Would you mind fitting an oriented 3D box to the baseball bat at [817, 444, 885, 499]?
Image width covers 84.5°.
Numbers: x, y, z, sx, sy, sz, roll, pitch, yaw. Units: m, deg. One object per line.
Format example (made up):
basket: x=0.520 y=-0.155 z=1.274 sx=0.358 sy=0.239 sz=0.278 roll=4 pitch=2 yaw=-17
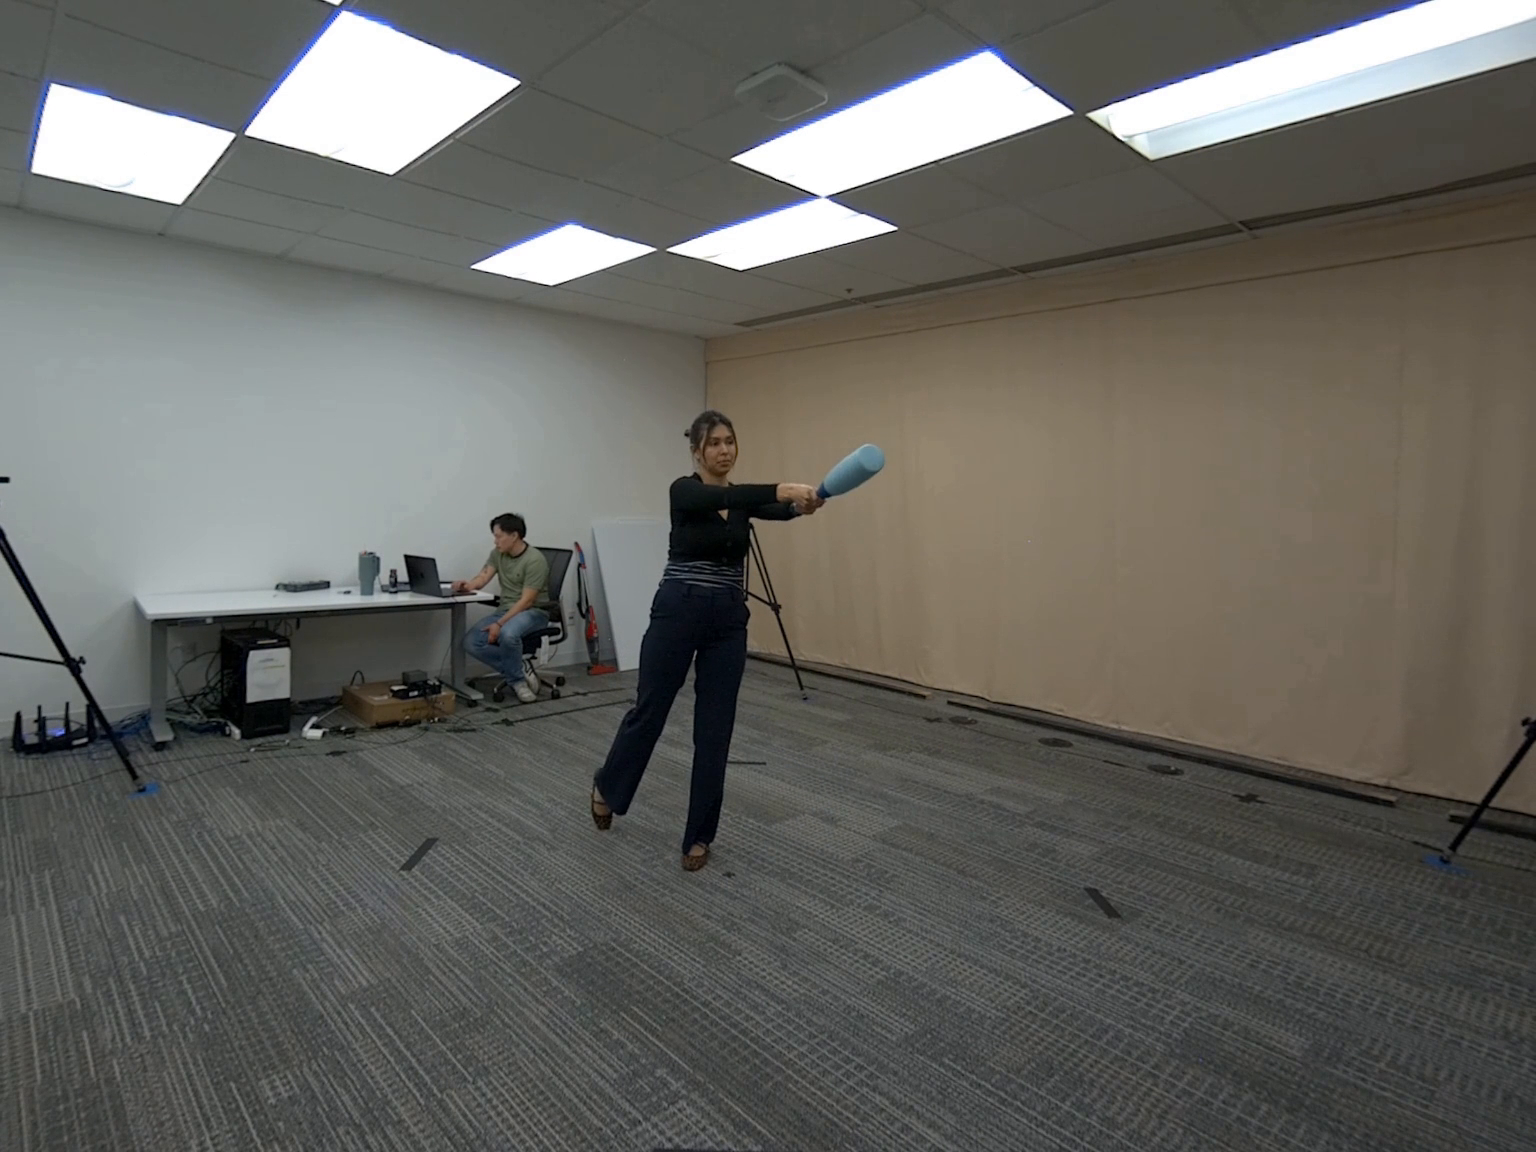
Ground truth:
baseball bat: x=0.178 y=-0.257 z=2.532 sx=0.088 sy=0.090 sz=0.545 roll=0 pitch=-12 yaw=-20
